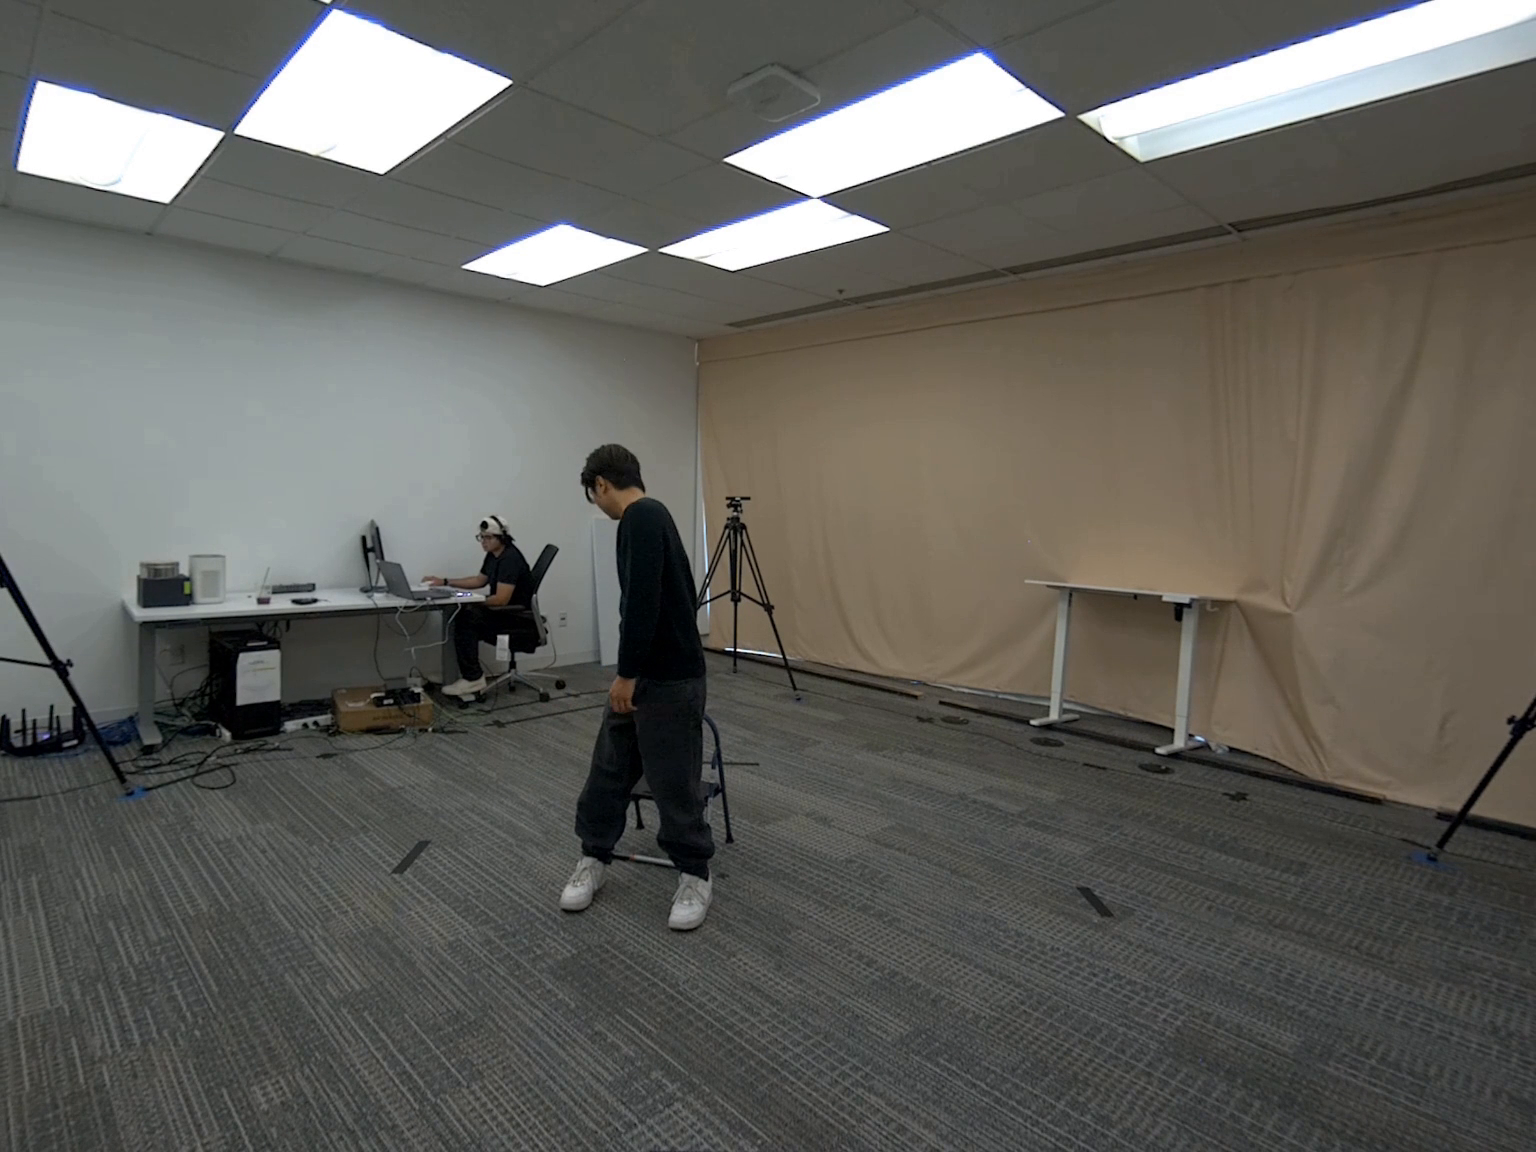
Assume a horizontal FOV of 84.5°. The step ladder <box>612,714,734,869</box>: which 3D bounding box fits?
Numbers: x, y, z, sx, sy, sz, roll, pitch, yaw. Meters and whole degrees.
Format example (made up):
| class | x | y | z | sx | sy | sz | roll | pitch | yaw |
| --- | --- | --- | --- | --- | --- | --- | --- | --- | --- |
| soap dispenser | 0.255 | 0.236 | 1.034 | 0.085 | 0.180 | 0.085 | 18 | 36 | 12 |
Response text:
| class | x | y | z | sx | sy | sz | roll | pitch | yaw |
| --- | --- | --- | --- | --- | --- | --- | --- | --- | --- |
| step ladder | -0.383 | 0.781 | 3.322 | 0.437 | 0.605 | 0.345 | 3 | 3 | 17 |
